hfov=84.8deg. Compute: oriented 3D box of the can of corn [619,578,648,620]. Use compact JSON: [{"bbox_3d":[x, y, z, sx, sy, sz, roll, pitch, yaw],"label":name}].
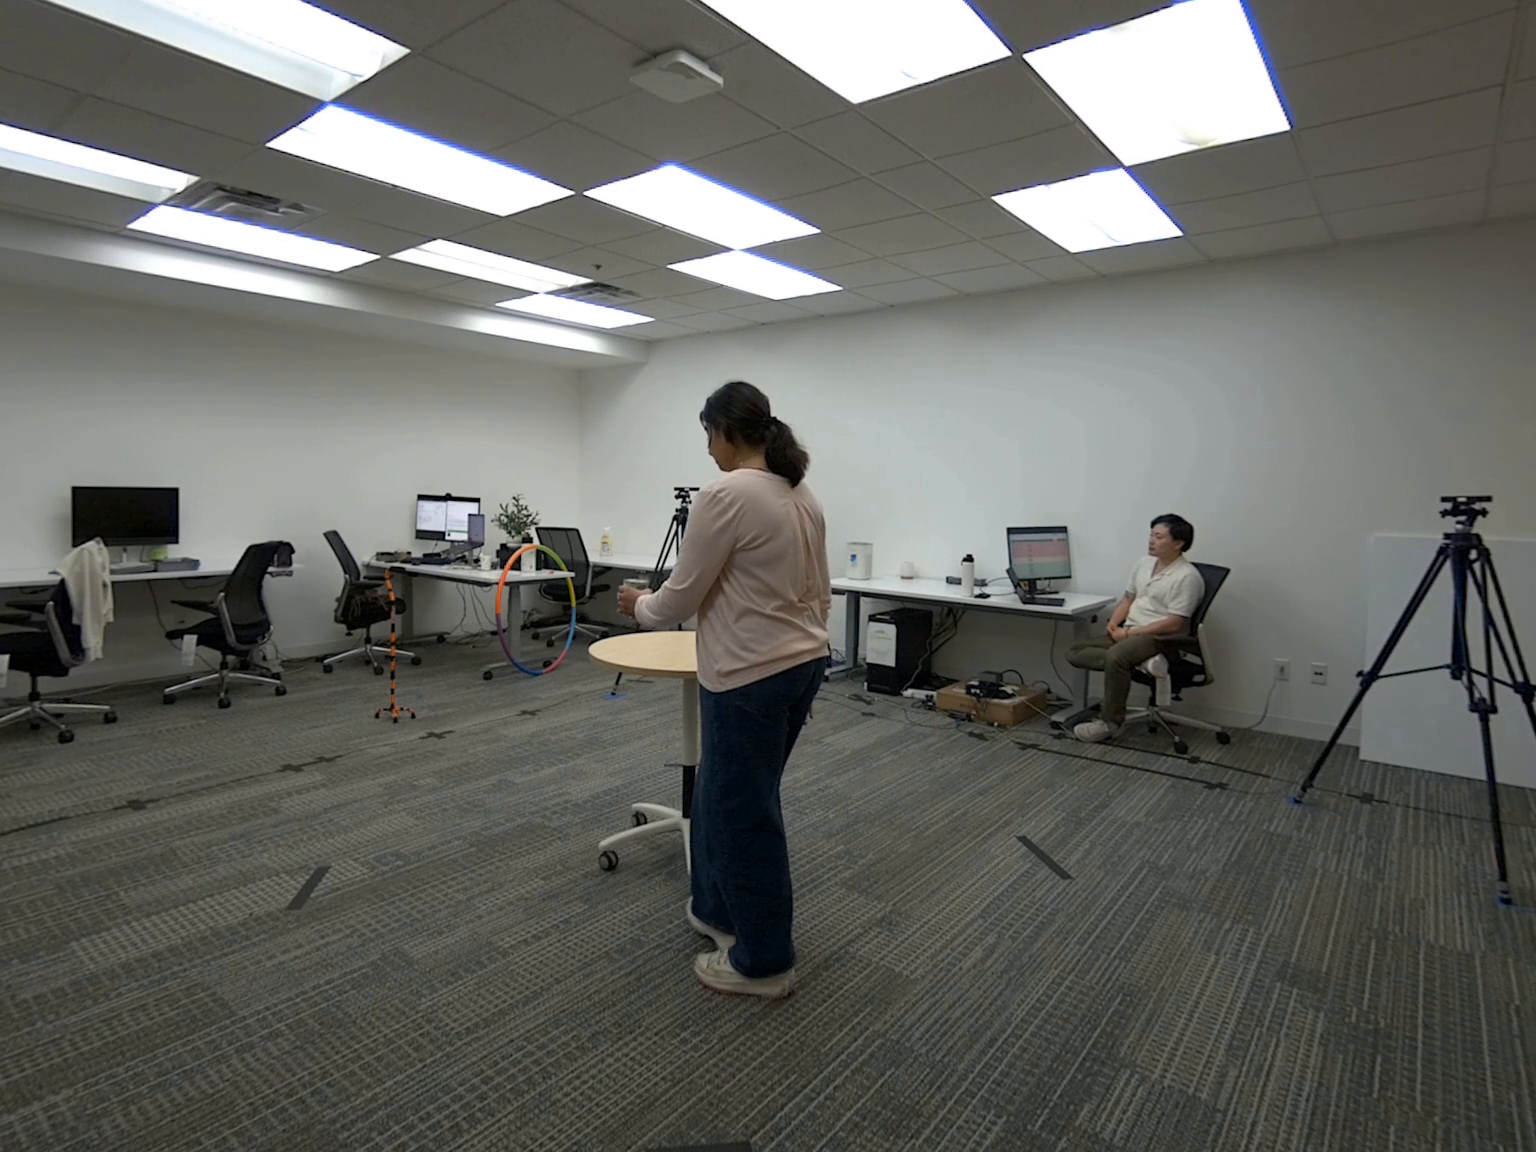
[{"bbox_3d":[-0.414,0.070,2.579,0.074,0.110,0.075,4,6,-2],"label":"can of corn"}]
